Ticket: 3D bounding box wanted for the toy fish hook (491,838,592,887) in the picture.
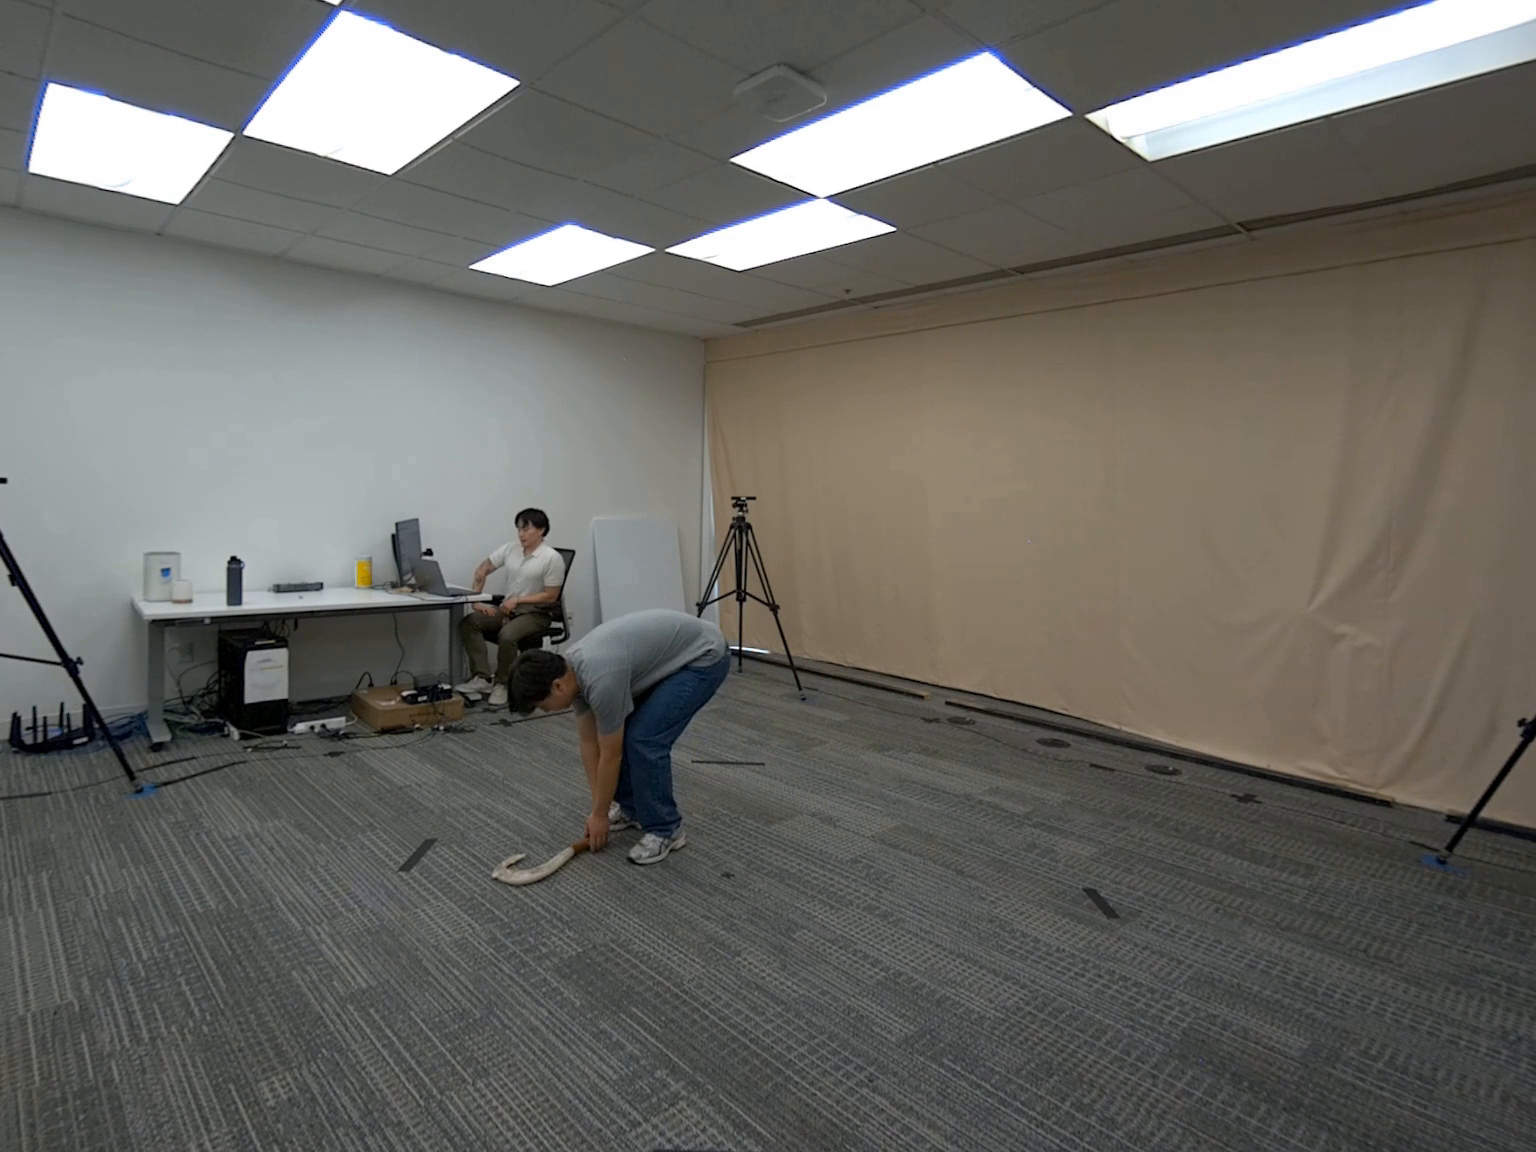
[{"bbox_3d":[-0.832,1.055,3.206,0.230,0.048,0.496,6,6,31],"label":"toy fish hook"}]
